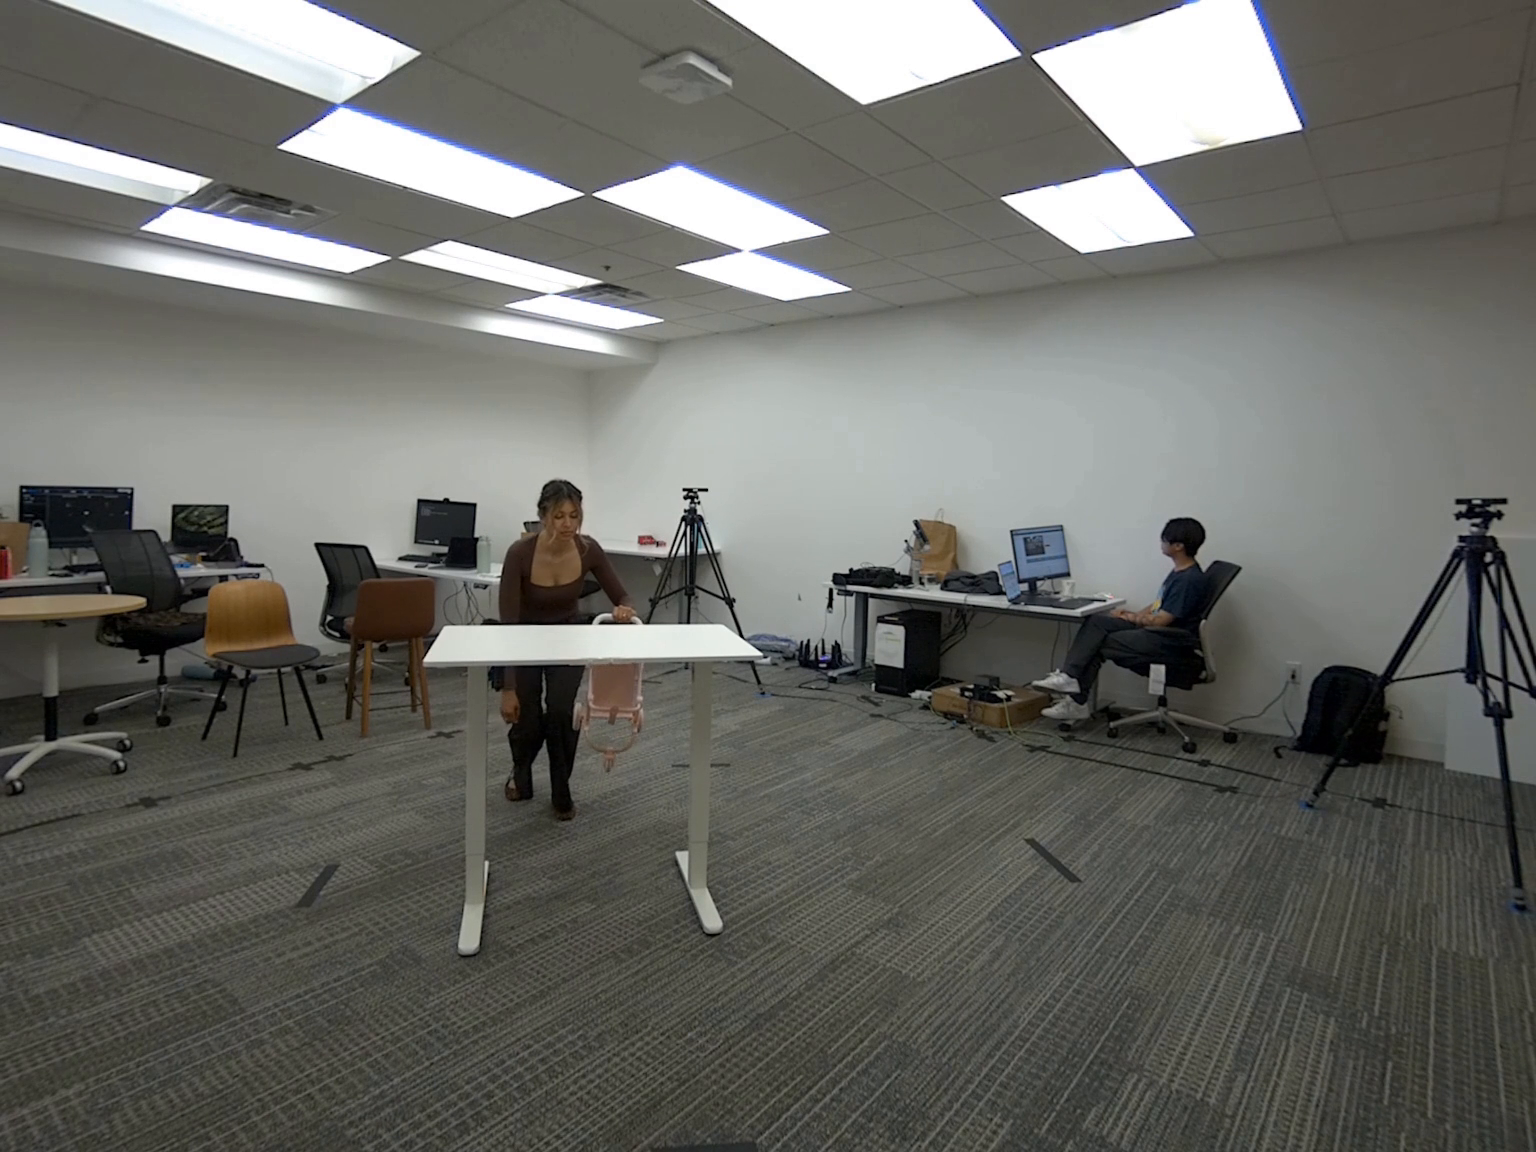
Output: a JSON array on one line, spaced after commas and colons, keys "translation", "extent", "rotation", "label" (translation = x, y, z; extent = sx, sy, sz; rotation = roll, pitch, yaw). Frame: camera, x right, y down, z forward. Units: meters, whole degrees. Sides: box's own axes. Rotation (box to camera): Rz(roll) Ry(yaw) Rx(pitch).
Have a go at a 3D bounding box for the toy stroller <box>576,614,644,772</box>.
[{"translation": [-0.621, 0.456, 3.332], "extent": [0.279, 0.530, 0.348], "rotation": [7, 12, -10], "label": "toy stroller"}]
